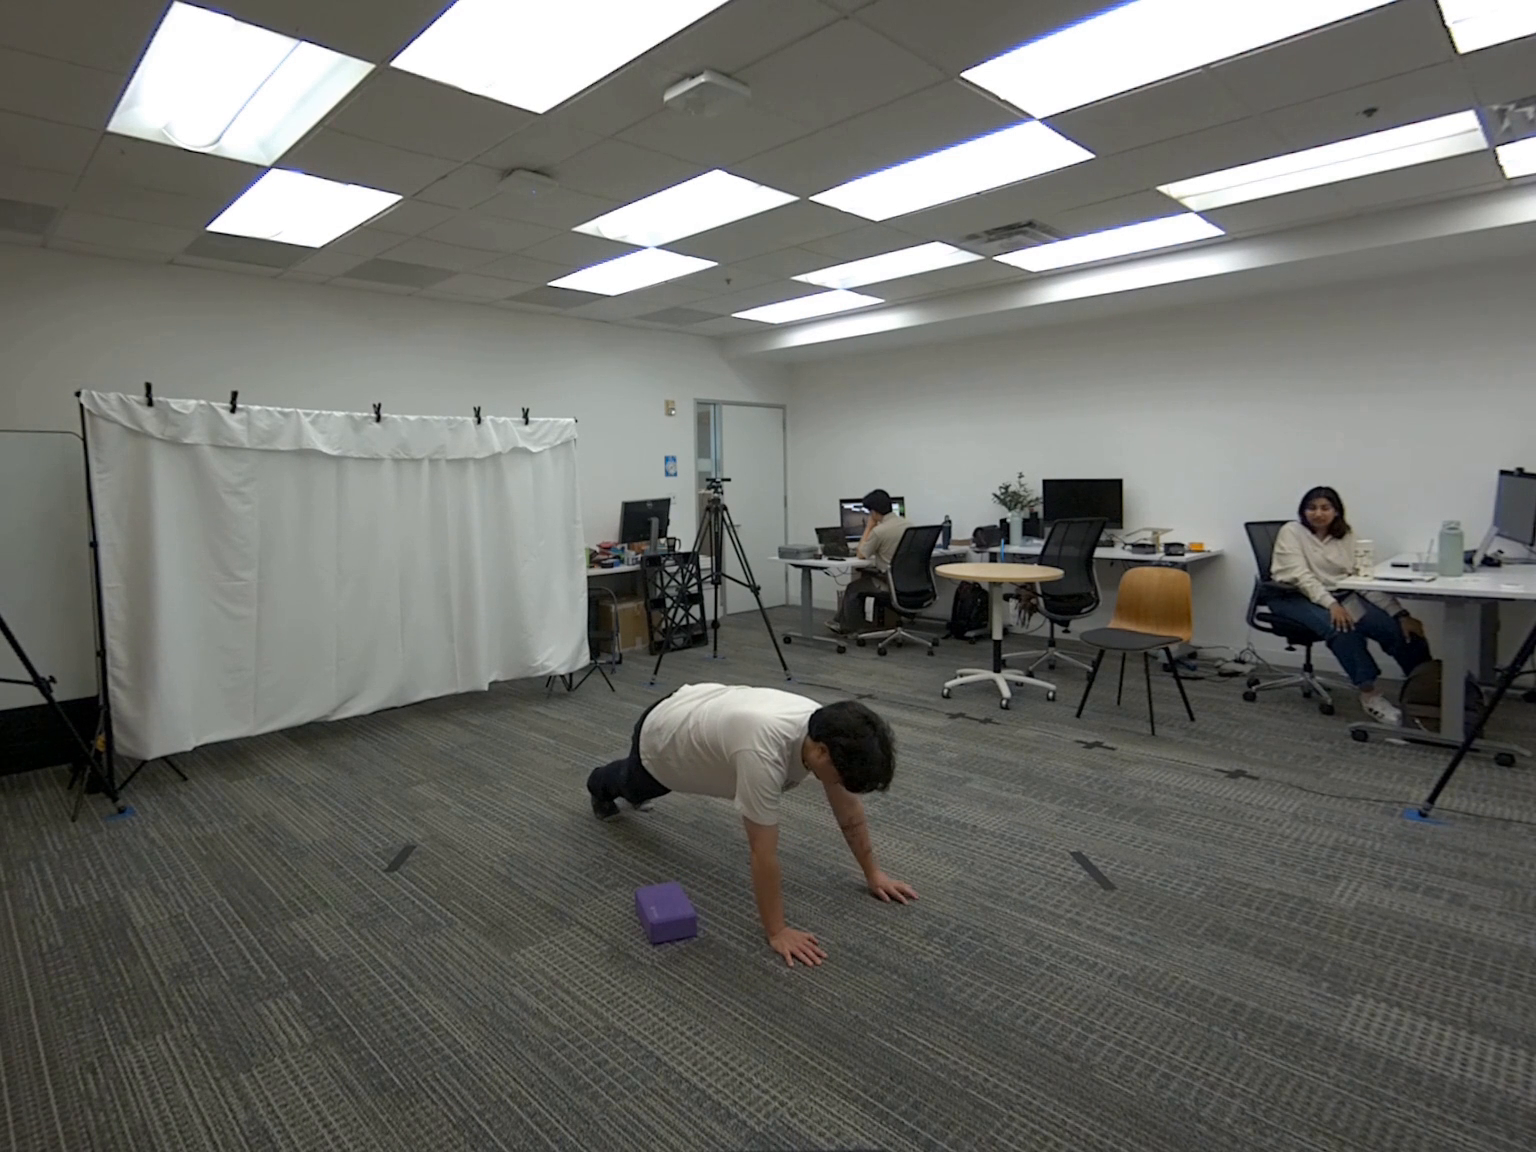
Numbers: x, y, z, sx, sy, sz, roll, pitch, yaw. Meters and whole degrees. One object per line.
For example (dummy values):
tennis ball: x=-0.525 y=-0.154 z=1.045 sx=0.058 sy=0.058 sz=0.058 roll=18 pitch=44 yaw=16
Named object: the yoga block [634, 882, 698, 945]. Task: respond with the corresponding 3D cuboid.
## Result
yoga block: x=-0.324 y=1.061 z=2.694 sx=0.146 sy=0.076 sz=0.234 roll=-3 pitch=7 yaw=-19
